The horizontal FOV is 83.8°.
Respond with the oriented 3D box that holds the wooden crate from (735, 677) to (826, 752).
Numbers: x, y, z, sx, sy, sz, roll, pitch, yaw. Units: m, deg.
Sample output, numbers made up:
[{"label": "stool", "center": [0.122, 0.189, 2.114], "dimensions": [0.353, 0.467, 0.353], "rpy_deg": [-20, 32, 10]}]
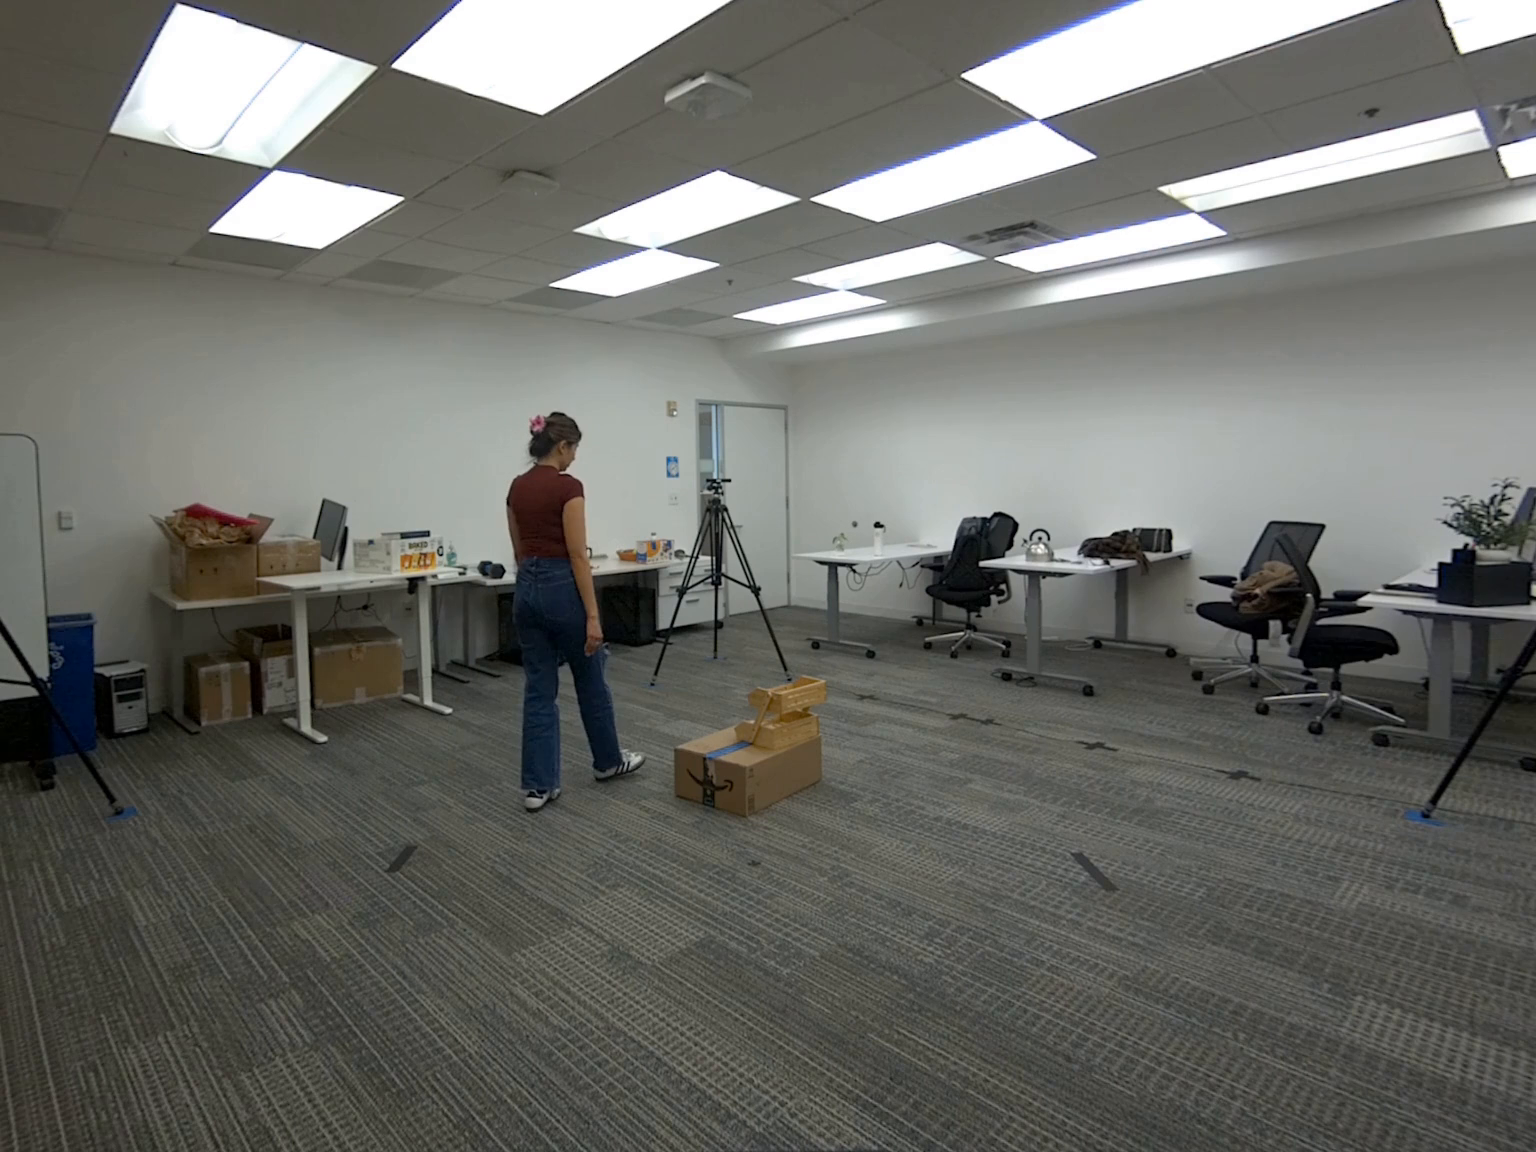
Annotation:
[{"label": "wooden crate", "center": [0.053, 0.607, 3.897], "dimensions": [0.316, 0.272, 0.312], "rpy_deg": [-6, 9, -43]}]
